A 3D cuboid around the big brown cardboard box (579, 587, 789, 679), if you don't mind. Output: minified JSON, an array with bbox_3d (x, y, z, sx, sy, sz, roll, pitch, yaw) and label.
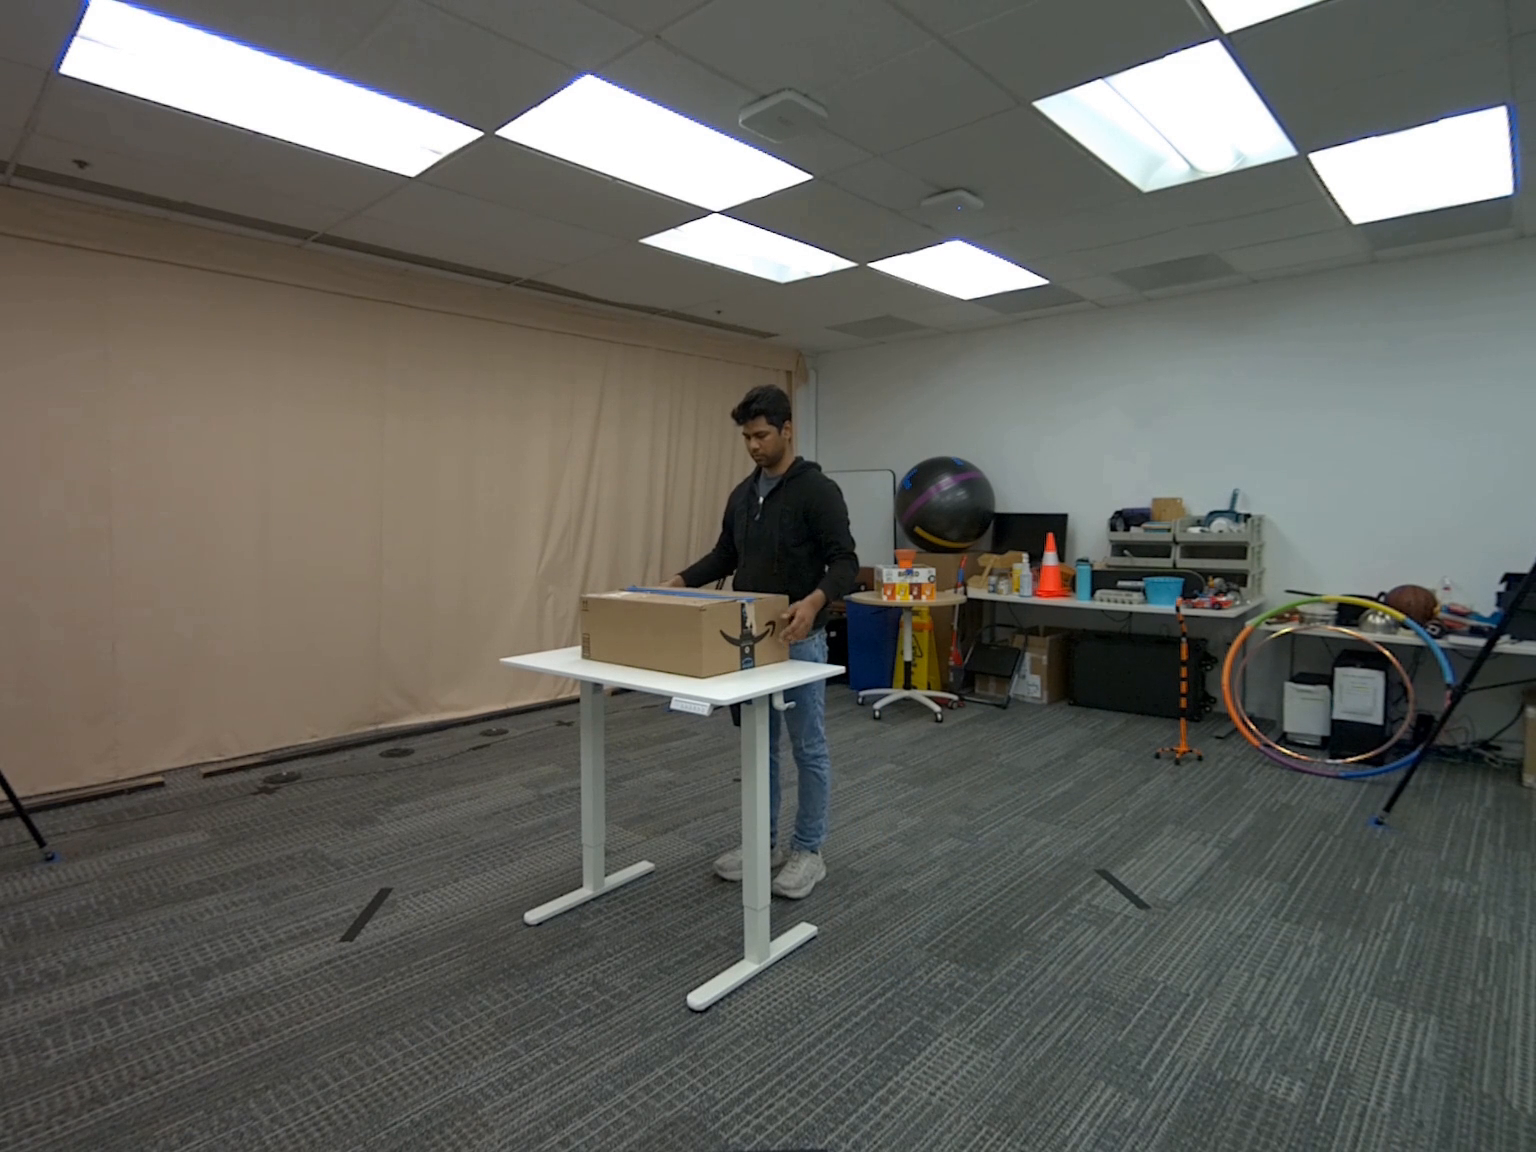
[{"bbox_3d":[-0.285,0.169,2.807,0.608,0.232,0.405,4,6,40],"label":"big brown cardboard box"}]
